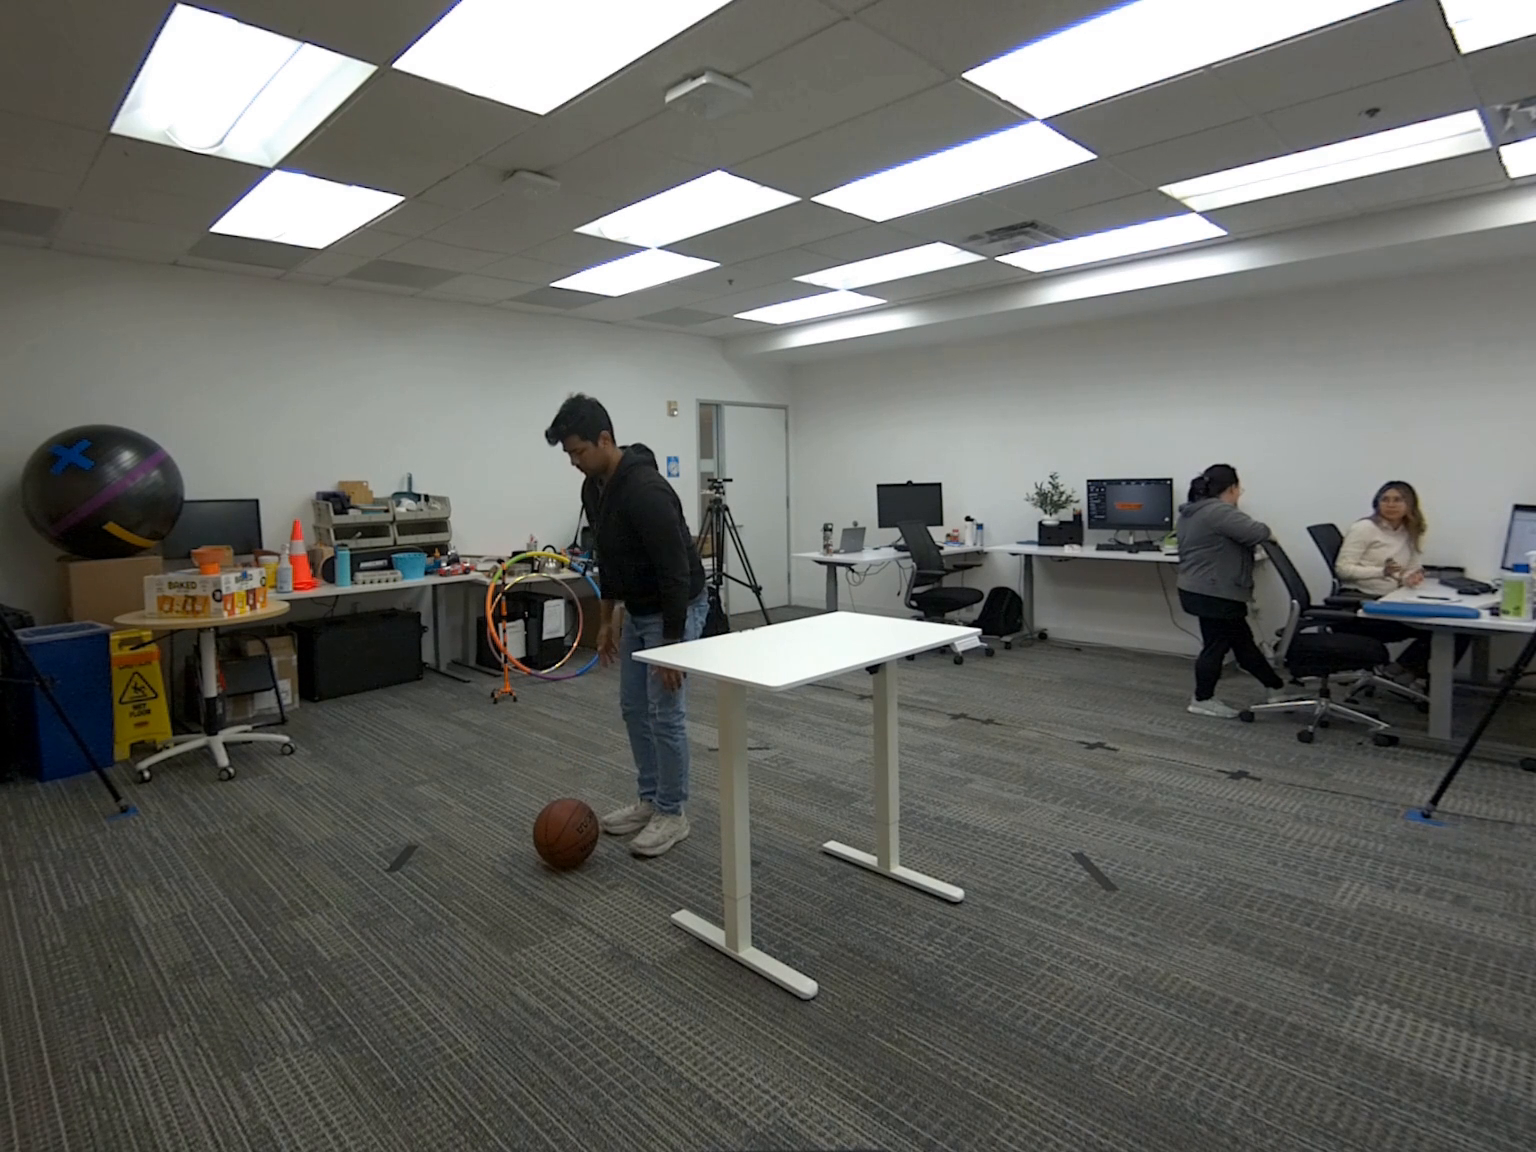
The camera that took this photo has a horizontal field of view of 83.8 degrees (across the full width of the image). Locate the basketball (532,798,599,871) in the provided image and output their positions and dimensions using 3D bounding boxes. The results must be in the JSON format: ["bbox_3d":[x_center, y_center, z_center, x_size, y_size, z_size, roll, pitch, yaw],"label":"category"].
[{"bbox_3d":[-0.744,0.936,3.126,0.236,0.235,0.237,-1,5,-2],"label":"basketball"}]
